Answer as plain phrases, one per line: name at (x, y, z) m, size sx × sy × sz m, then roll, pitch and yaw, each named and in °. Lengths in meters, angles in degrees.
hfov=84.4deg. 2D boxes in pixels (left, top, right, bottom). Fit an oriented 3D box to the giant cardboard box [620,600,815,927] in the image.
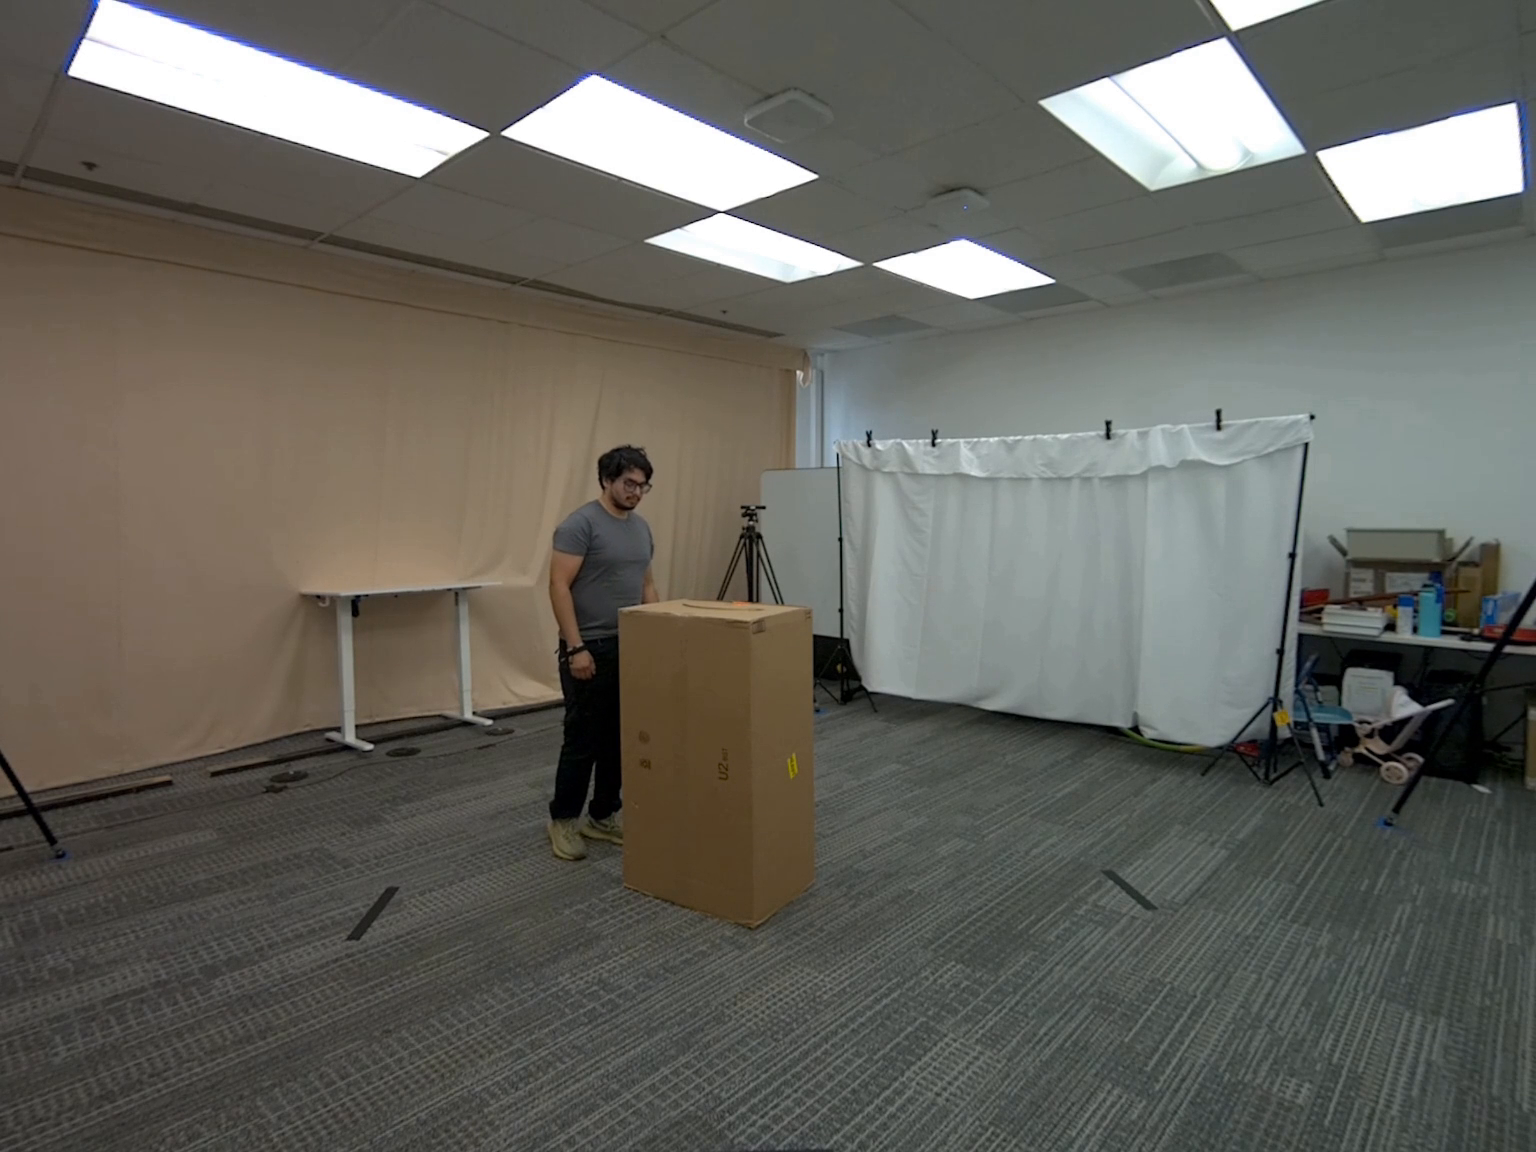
giant cardboard box at (-0.180, 0.632, 3.075) m, size 0.601 × 1.025 × 0.434 m, roll 2°, pitch 4°, yaw 33°
